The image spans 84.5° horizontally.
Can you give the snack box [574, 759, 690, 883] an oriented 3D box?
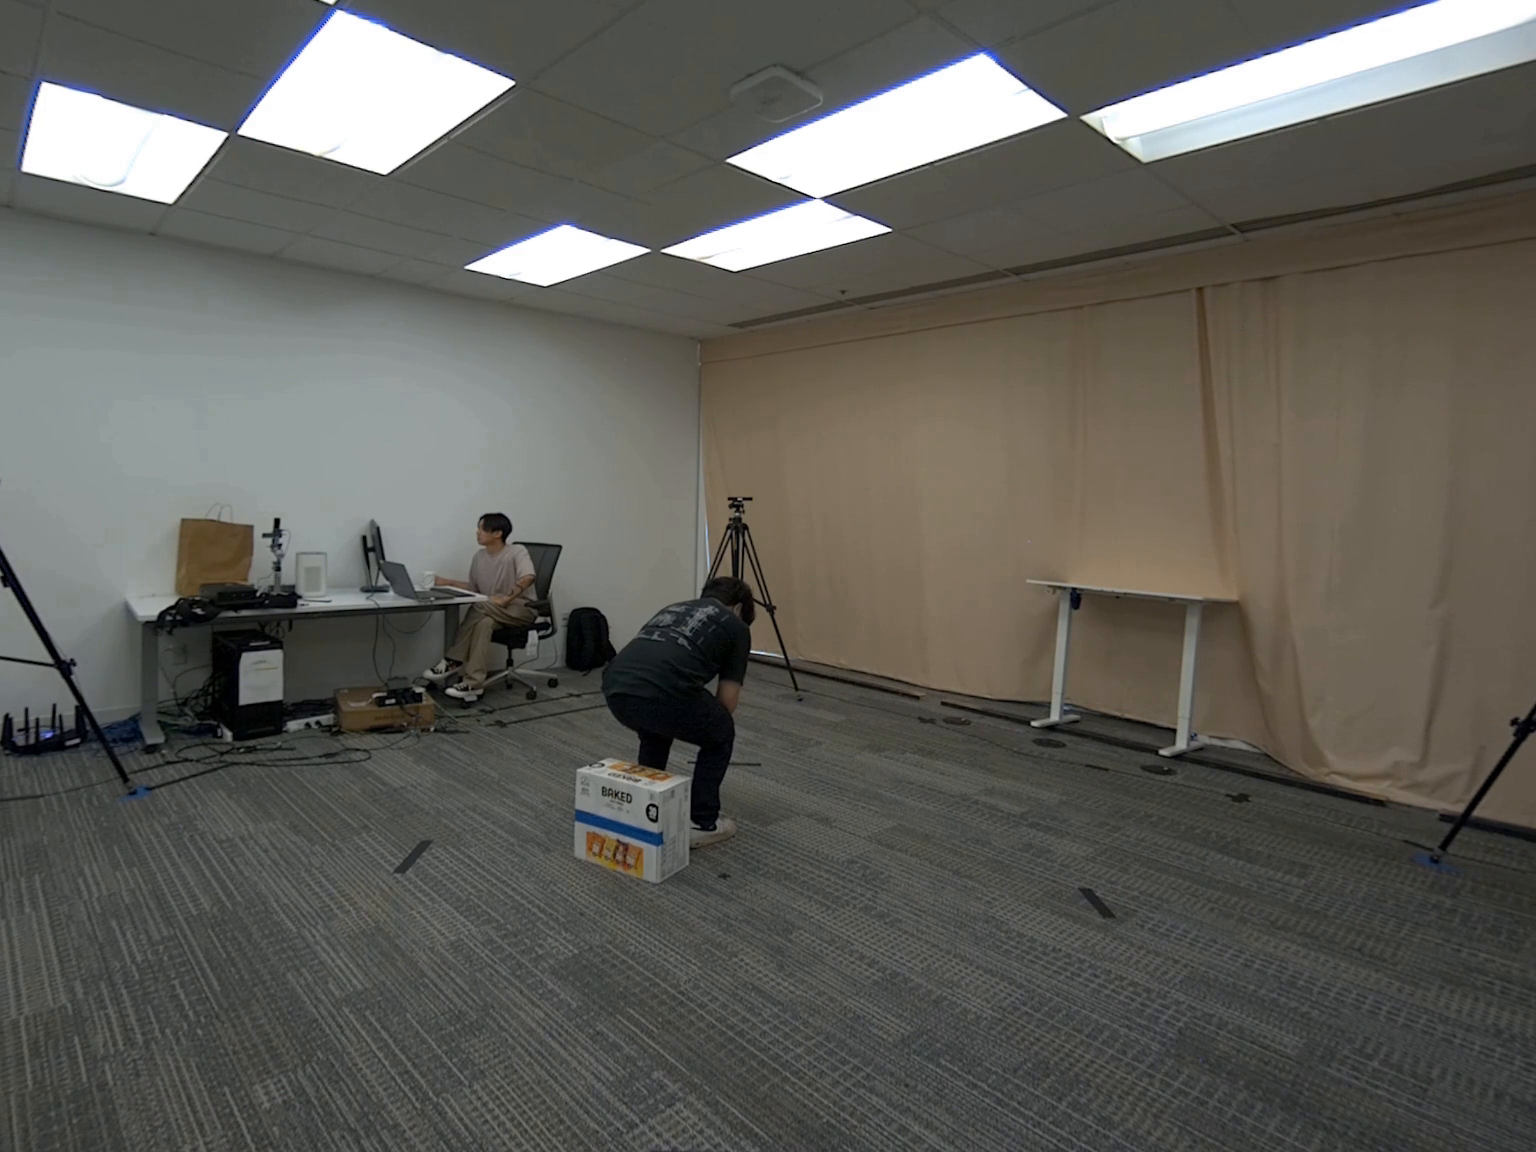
[{"bbox_3d":[-0.524,0.920,3.206,0.414,0.339,0.201,5,4,31],"label":"snack box"}]
